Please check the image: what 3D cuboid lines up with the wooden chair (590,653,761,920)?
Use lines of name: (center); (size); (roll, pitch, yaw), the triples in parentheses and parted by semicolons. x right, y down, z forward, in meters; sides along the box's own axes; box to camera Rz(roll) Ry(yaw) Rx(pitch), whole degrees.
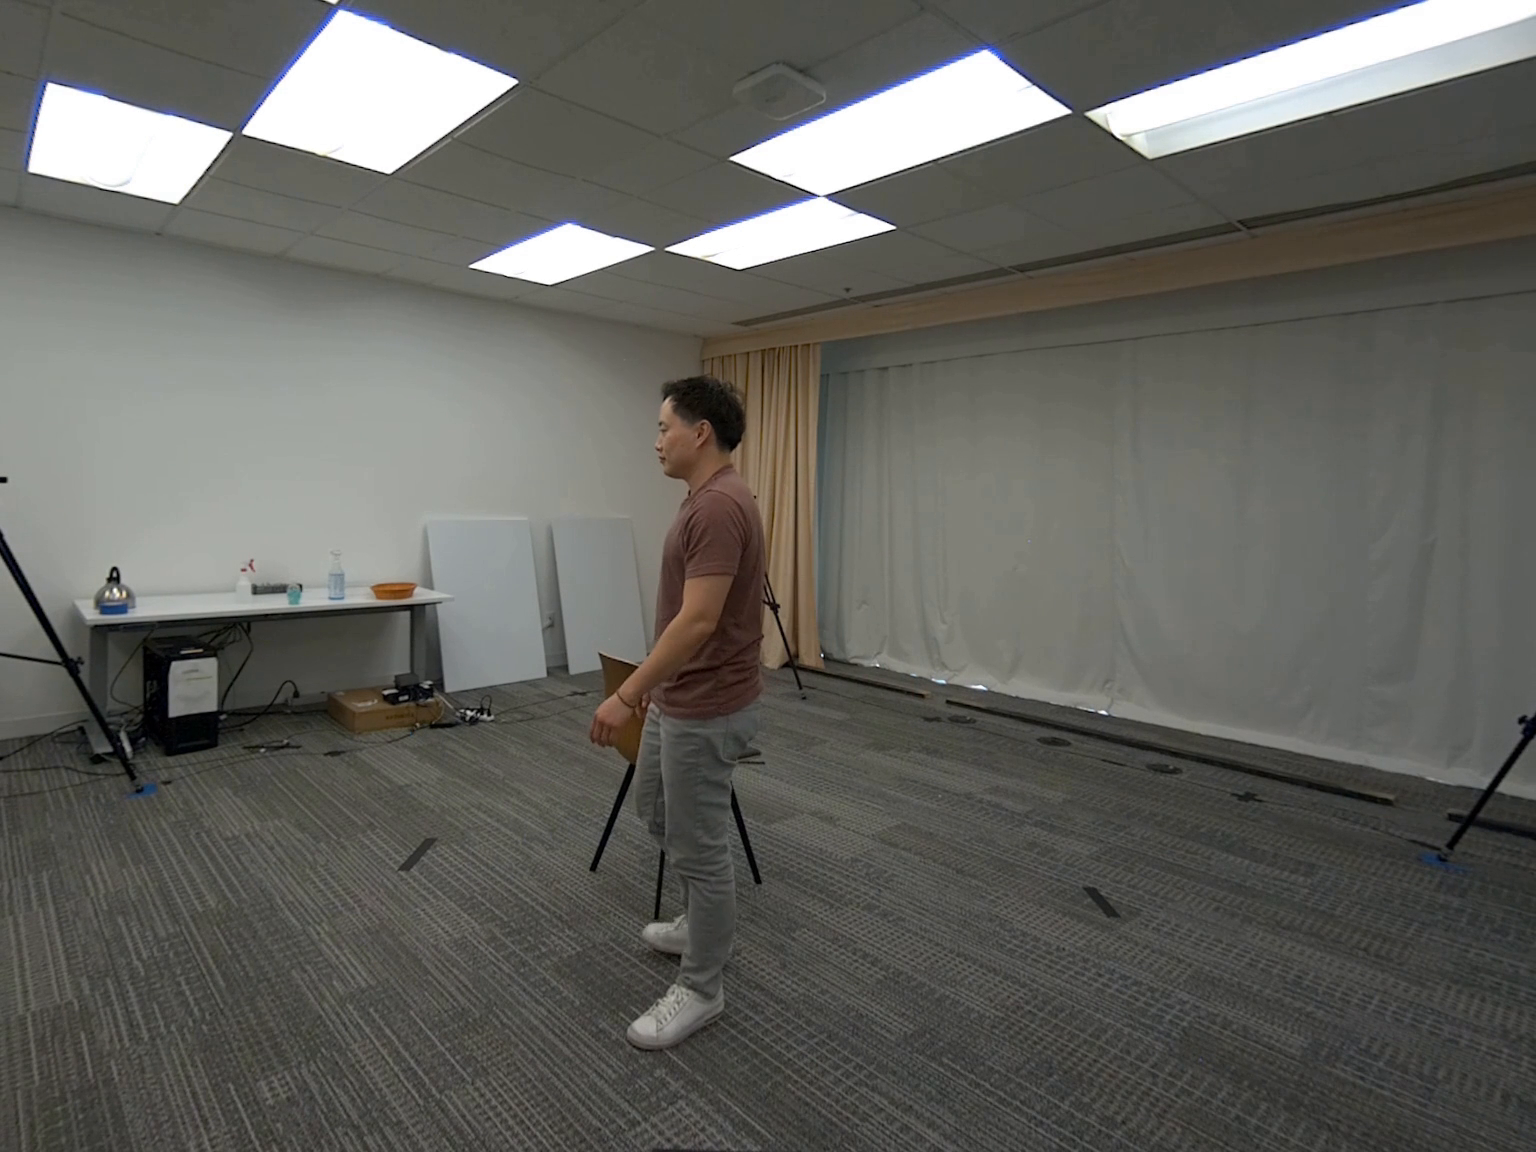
wooden chair: (-0.328, 0.678, 3.046); (0.512, 0.873, 0.490); (-7, 8, -39)
